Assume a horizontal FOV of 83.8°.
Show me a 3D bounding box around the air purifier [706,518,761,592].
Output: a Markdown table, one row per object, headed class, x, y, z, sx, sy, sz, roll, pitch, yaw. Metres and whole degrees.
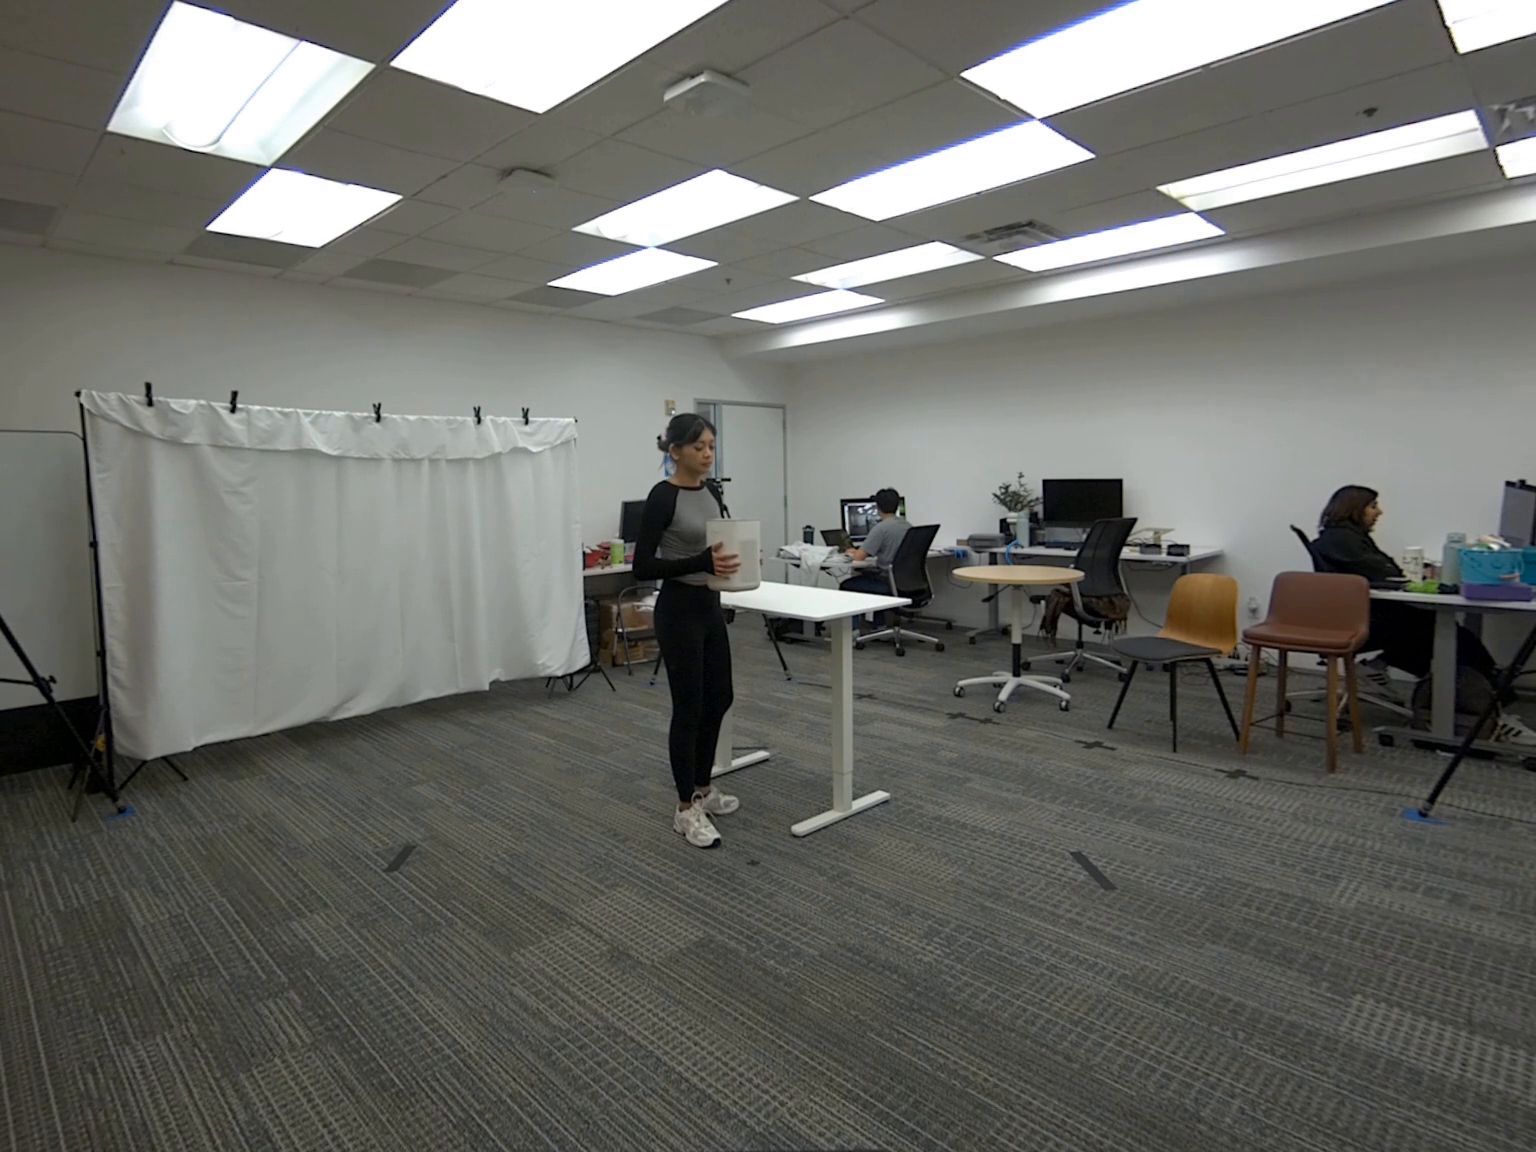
| class | x | y | z | sx | sy | sz | roll | pitch | yaw |
| --- | --- | --- | --- | --- | --- | --- | --- | --- | --- |
| air purifier | -0.130 | -0.078 | 3.171 | 0.175 | 0.265 | 0.167 | 1 | 4 | 32 |
